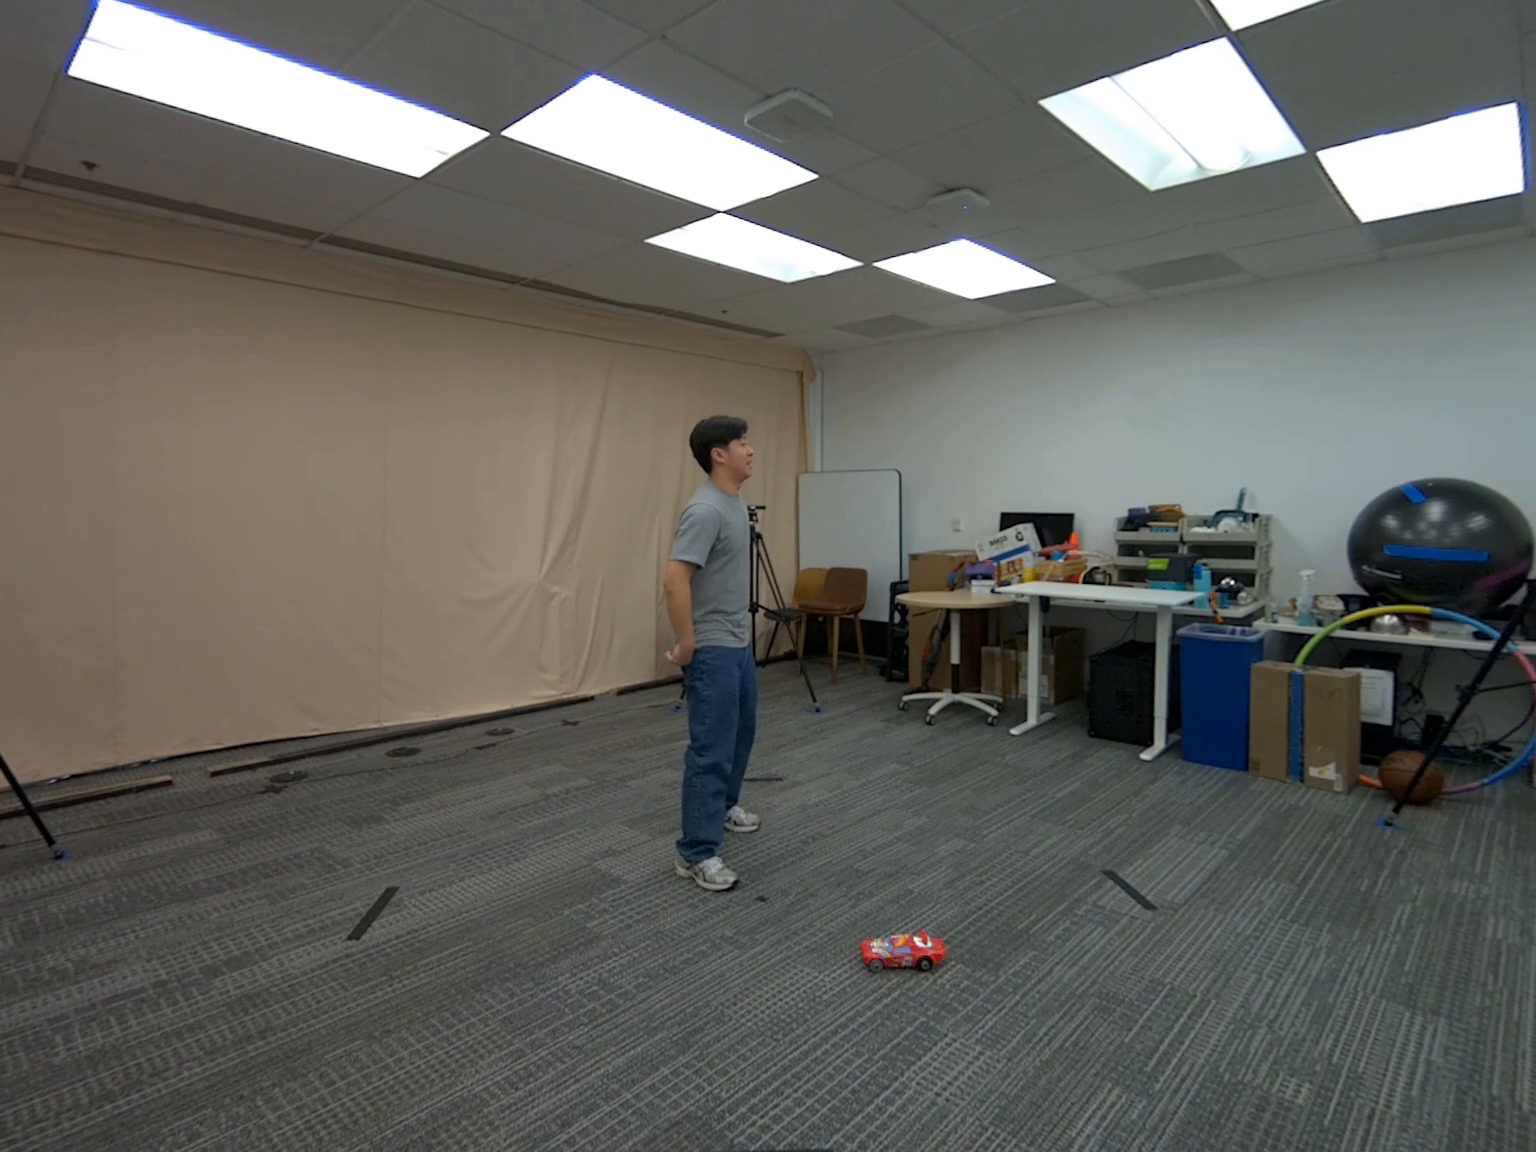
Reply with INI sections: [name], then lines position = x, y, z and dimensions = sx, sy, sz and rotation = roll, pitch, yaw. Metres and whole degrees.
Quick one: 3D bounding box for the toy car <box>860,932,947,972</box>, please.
[toy car]
position = 0.425, 1.150, 2.549
dimensions = 0.254, 0.083, 0.131
rotation = -12, 5, -2
